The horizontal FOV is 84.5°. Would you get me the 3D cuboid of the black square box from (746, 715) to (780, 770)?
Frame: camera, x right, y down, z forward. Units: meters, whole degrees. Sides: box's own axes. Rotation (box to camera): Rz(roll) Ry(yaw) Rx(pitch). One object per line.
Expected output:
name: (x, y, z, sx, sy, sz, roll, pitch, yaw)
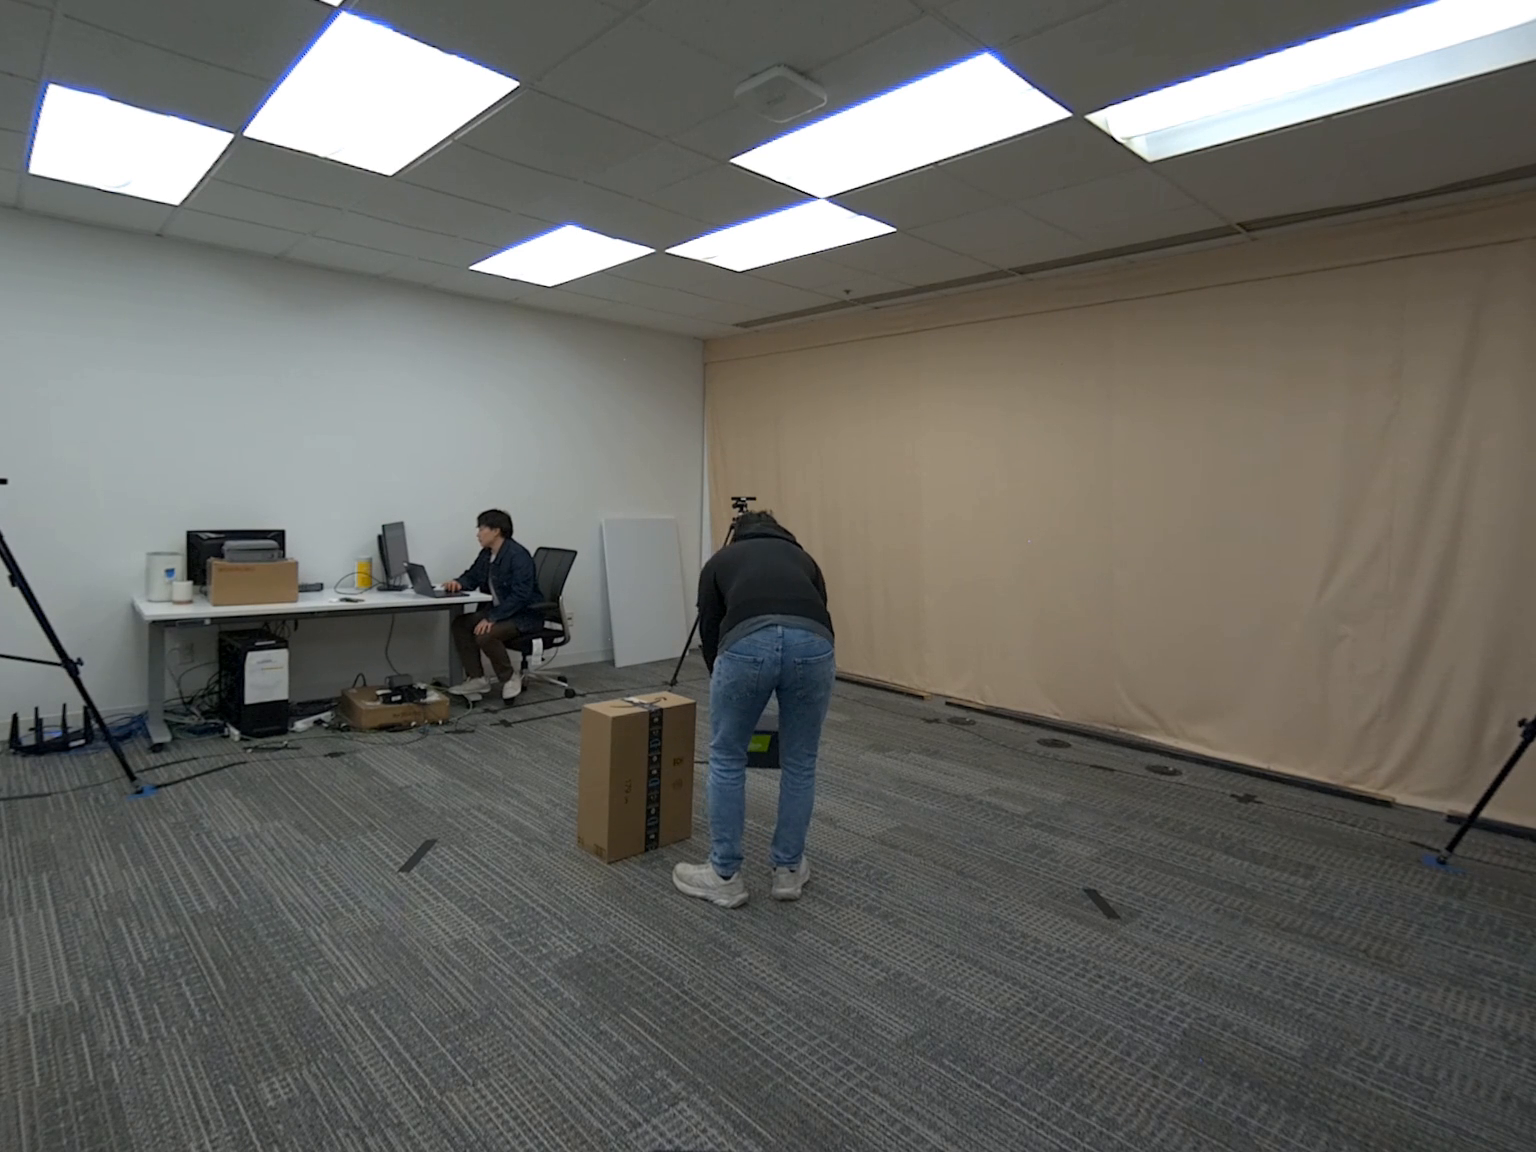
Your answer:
black square box: (-0.016, 0.669, 3.415, 0.228, 0.155, 0.218, 2, 6, 0)
